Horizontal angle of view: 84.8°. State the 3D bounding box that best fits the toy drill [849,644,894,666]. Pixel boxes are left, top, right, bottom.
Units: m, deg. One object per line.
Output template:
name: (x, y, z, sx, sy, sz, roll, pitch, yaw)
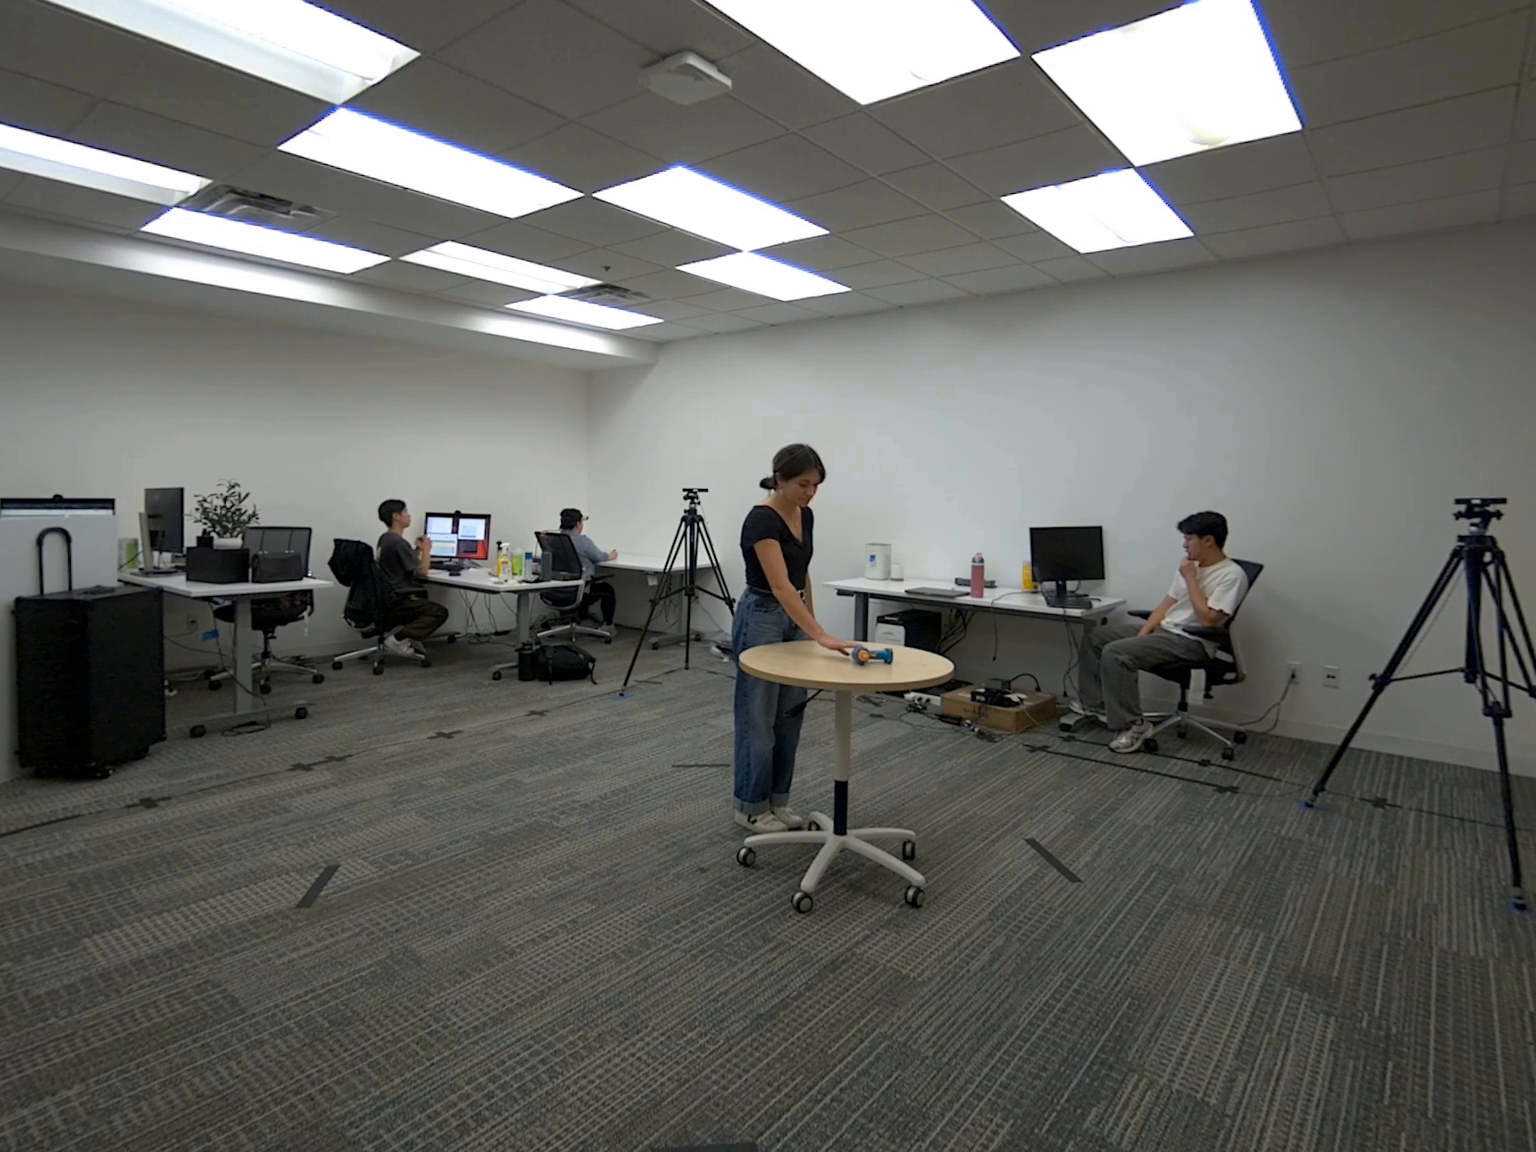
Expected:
toy drill: (0.371, 0.272, 3.003, 0.146, 0.061, 0.170, 2, -2, -3)
